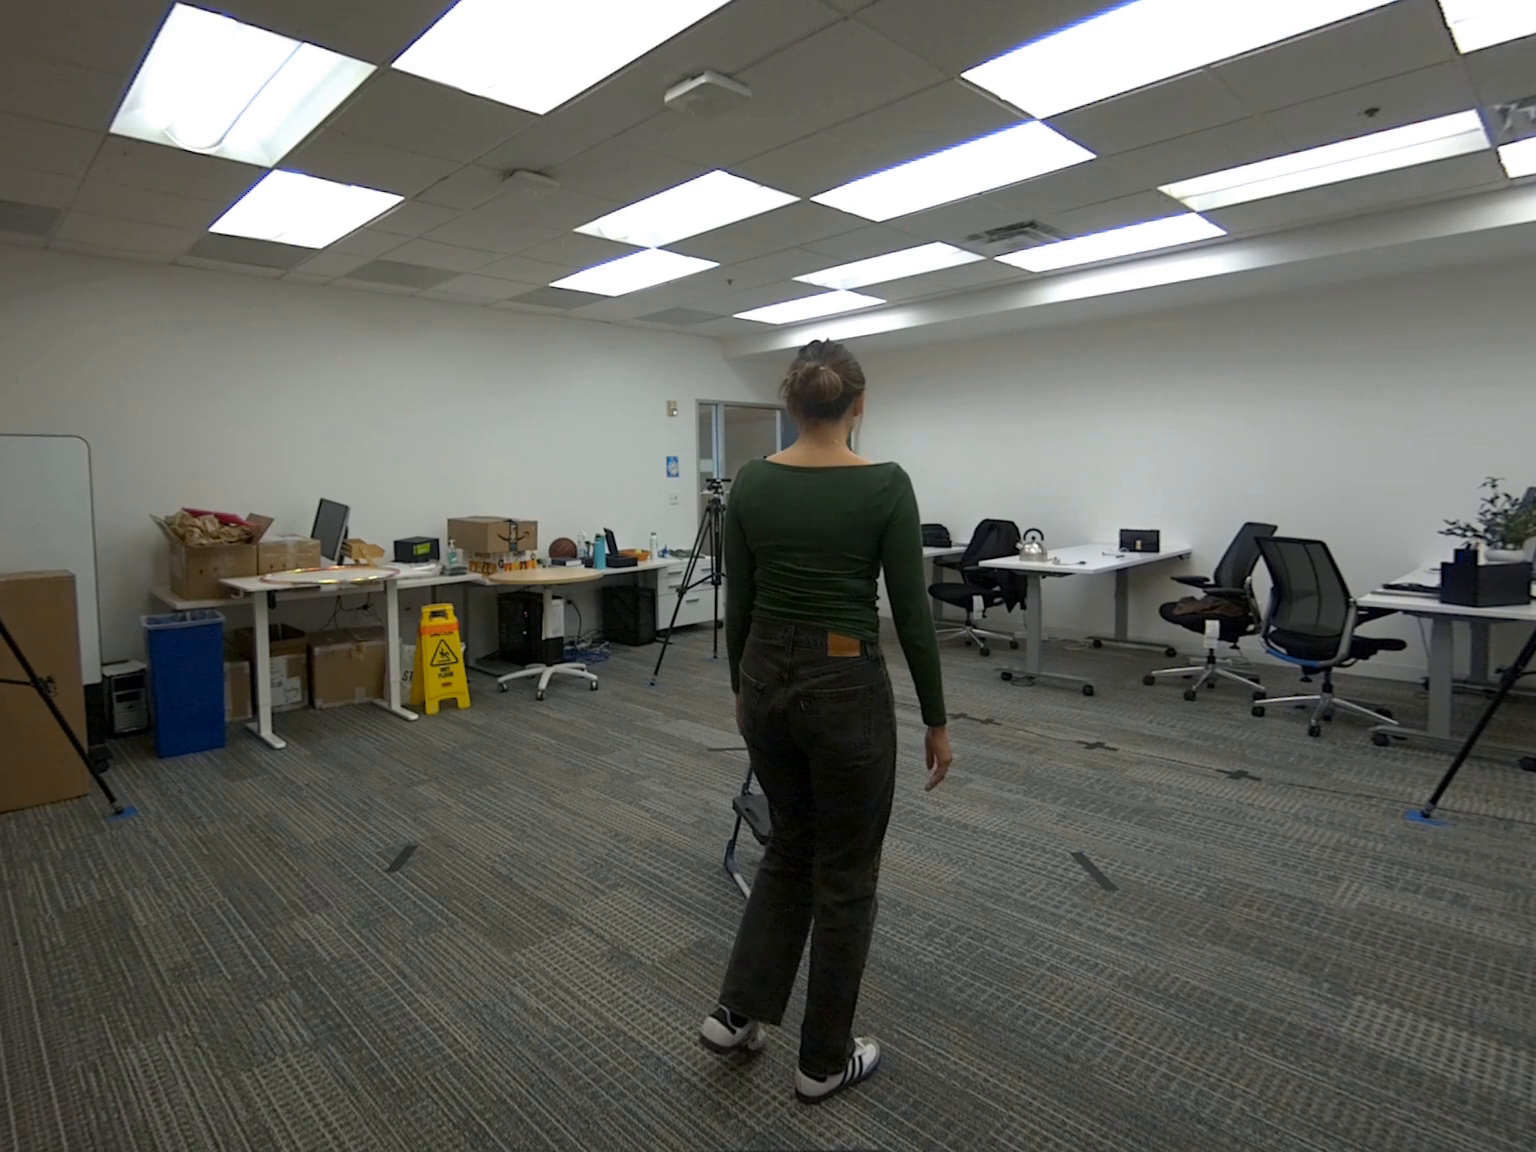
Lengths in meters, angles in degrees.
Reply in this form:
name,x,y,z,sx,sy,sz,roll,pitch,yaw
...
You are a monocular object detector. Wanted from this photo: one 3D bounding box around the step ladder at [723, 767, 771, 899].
name,x,y,z,sx,sy,sz,roll,pitch,yaw
step ladder,0.067,0.759,2.923,0.344,0.604,0.439,-2,4,-18
